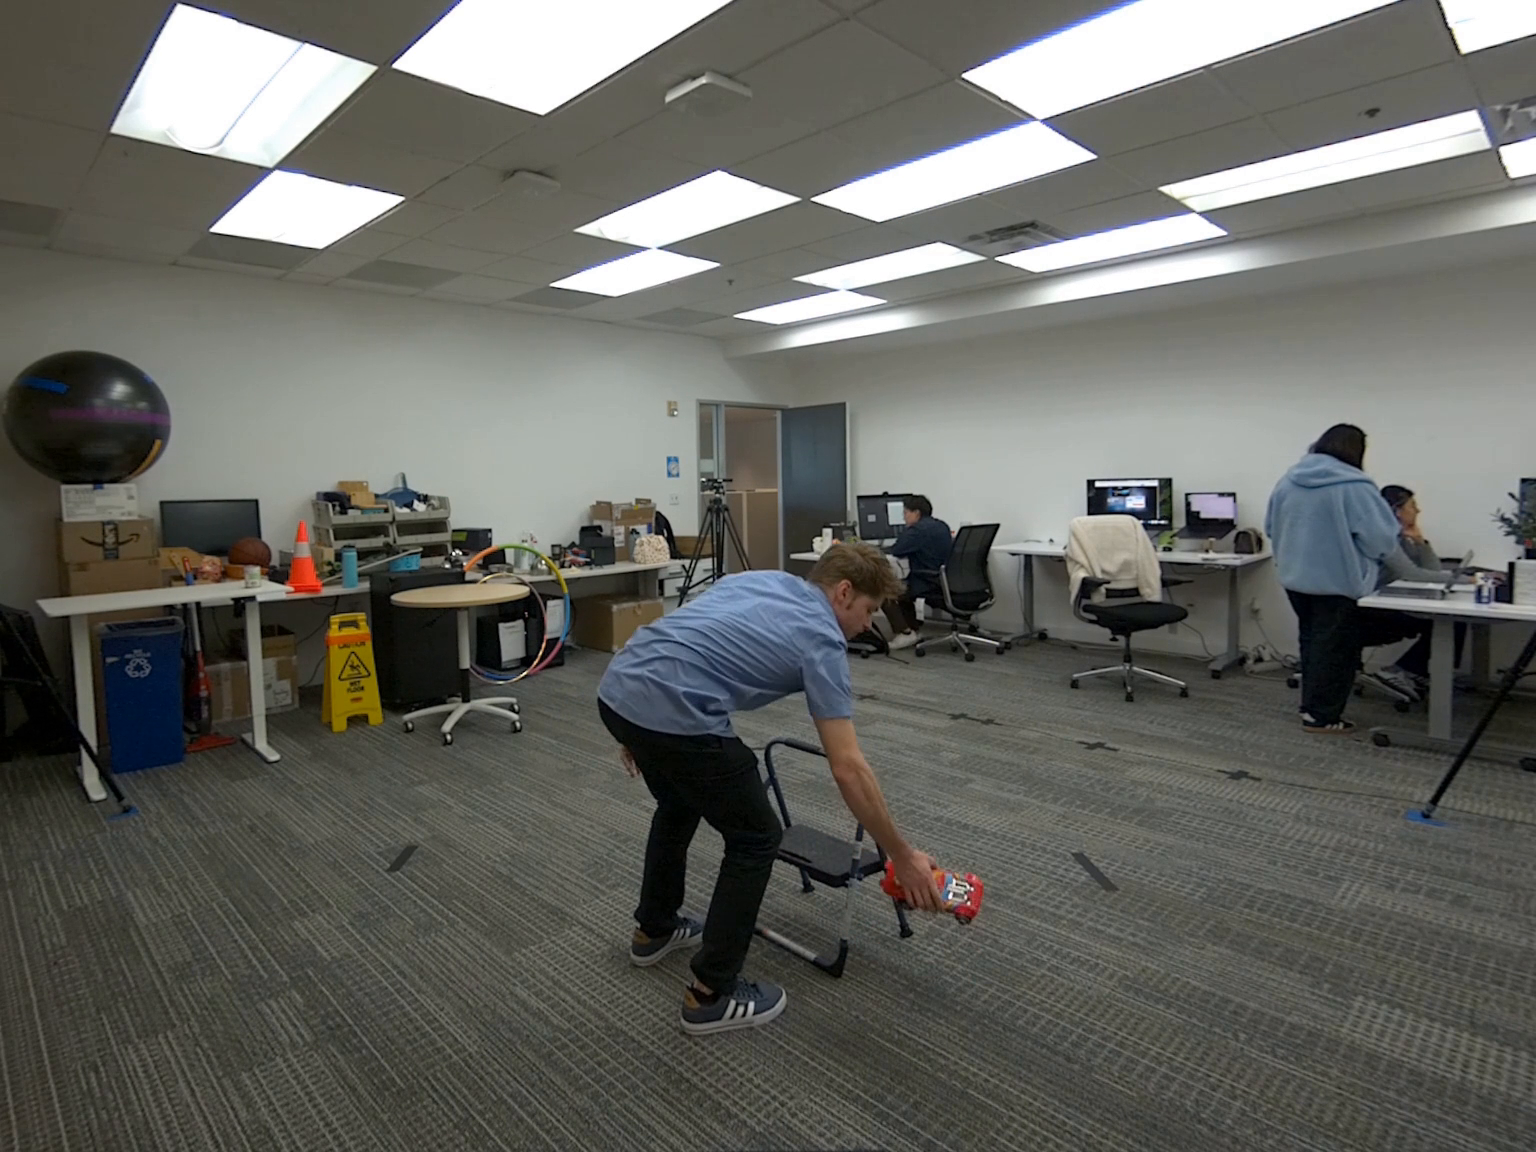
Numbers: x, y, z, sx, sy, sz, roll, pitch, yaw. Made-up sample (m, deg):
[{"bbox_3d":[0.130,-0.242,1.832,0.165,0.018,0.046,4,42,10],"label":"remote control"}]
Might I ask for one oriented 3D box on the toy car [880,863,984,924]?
[{"bbox_3d":[0.414,0.796,2.192,0.261,0.080,0.131,10,45,26],"label":"toy car"}]
